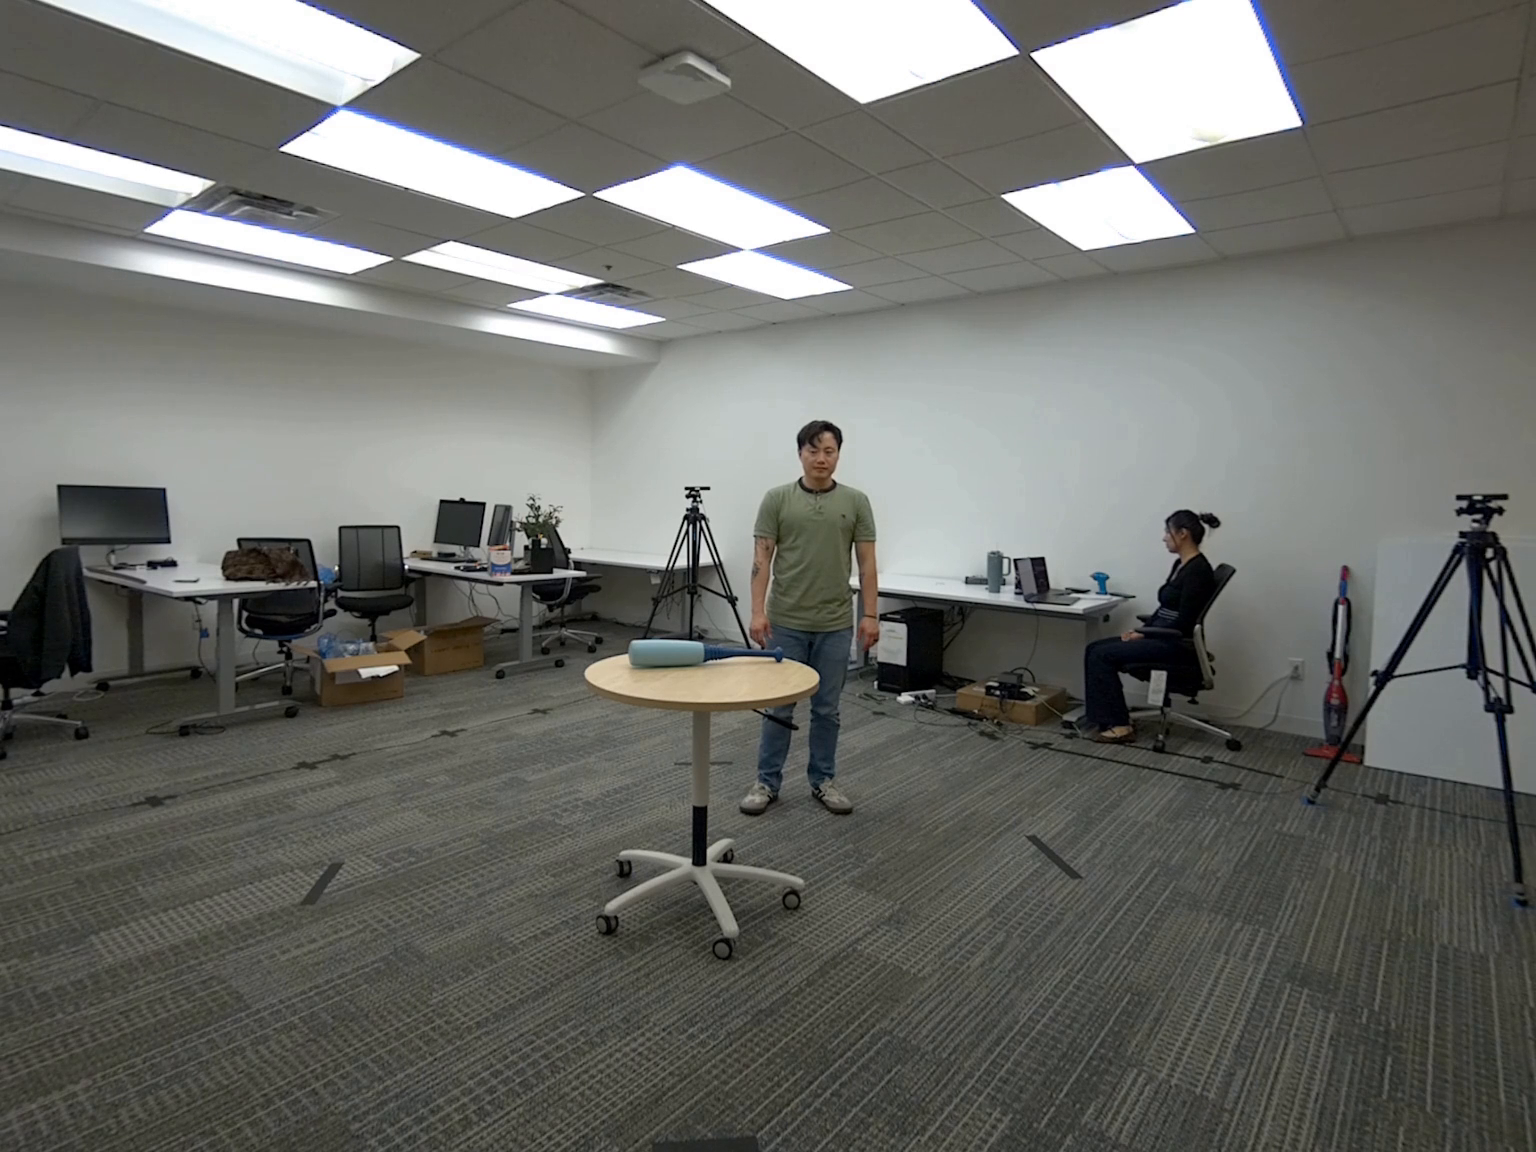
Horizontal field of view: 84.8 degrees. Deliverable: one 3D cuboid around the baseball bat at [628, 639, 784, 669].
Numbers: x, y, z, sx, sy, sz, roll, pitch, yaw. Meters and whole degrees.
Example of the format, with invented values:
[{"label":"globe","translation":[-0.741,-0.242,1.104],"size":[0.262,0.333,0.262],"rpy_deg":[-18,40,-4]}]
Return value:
[{"label":"baseball bat","translation":[-0.215,0.263,2.907],"size":[0.535,0.089,0.090],"rpy_deg":[2,4,-14]}]
